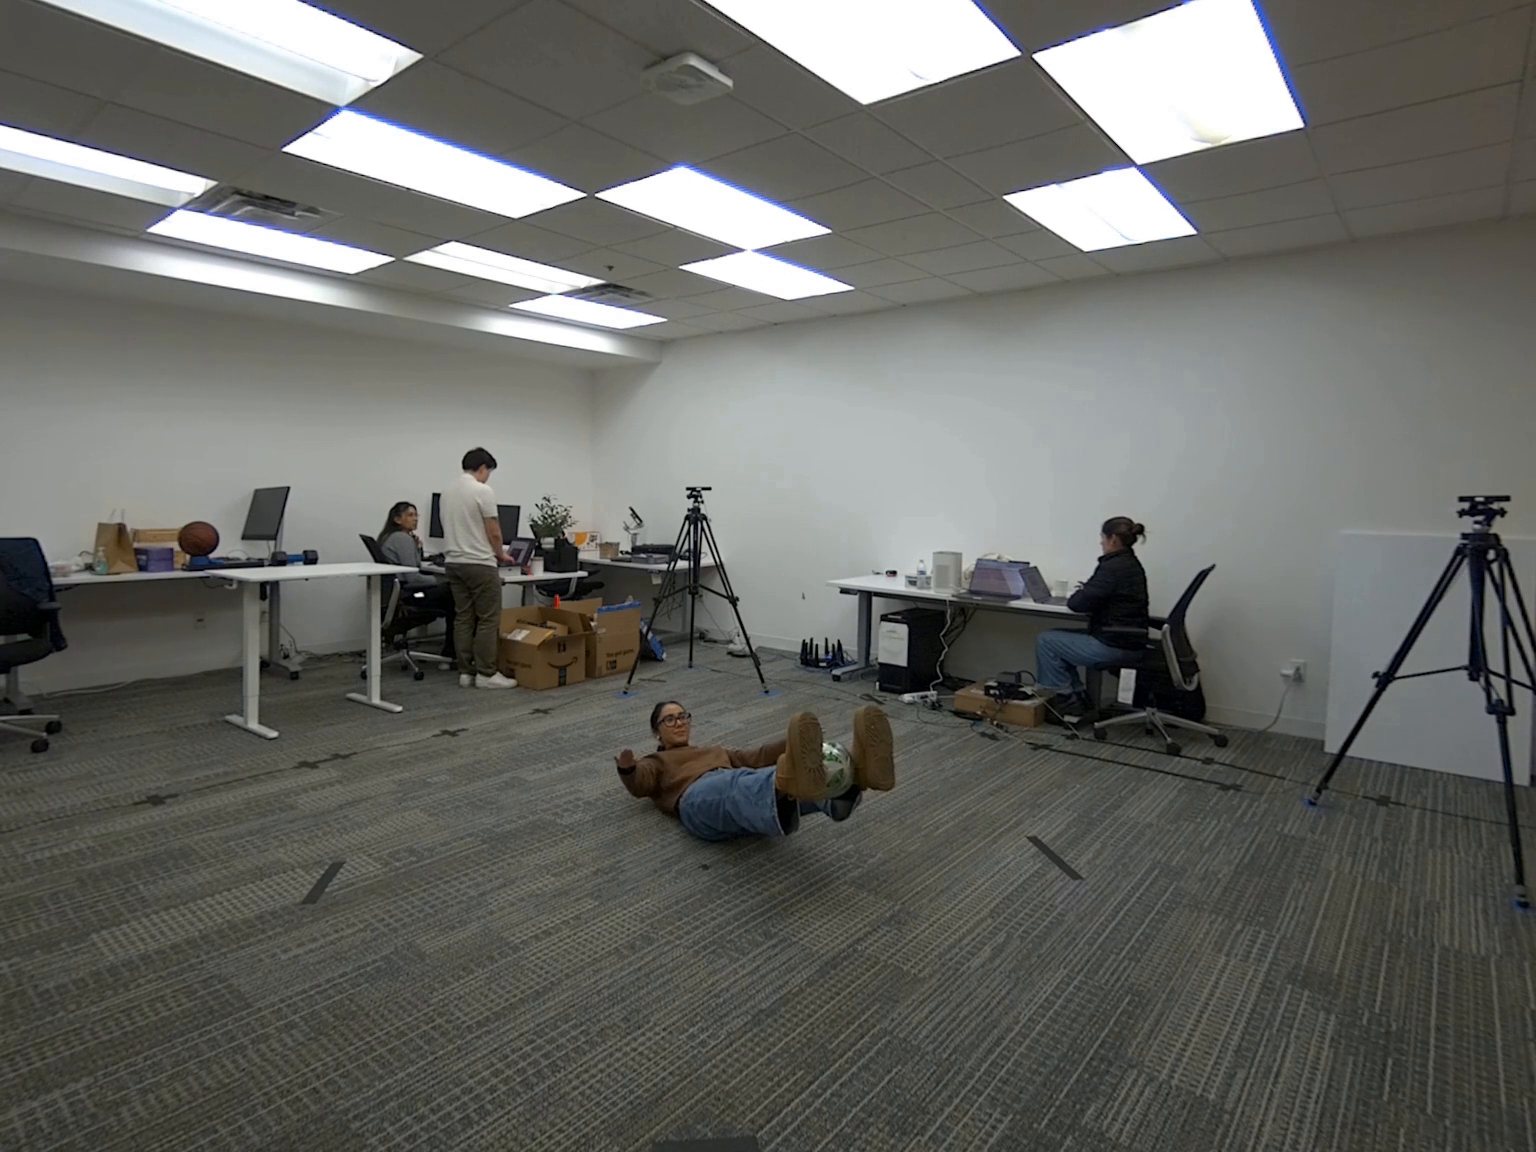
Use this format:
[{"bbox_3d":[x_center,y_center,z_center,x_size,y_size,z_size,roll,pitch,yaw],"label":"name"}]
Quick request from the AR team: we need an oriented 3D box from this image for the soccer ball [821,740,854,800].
[{"bbox_3d":[0.196,0.646,2.835,0.187,0.187,0.188,1,4,-2],"label":"soccer ball"}]
